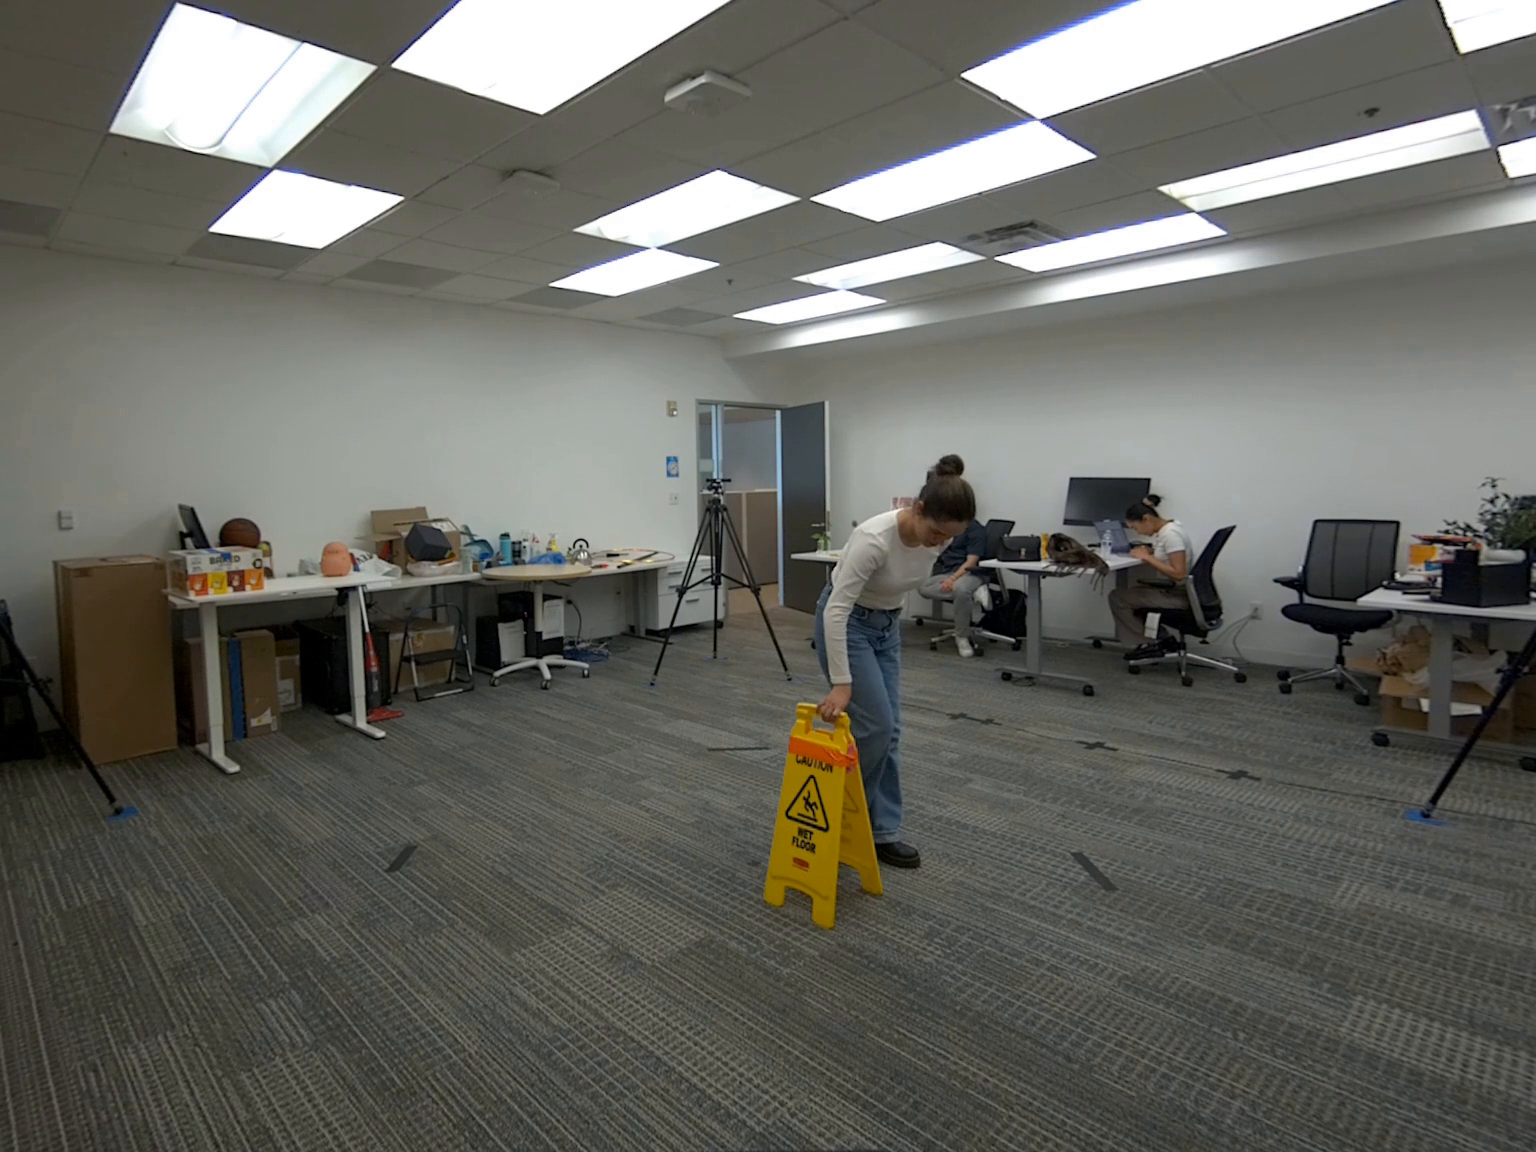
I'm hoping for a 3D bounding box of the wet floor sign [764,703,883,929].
[{"bbox_3d":[0.181,0.752,2.816,0.291,0.643,0.282,2,6,42],"label":"wet floor sign"}]
